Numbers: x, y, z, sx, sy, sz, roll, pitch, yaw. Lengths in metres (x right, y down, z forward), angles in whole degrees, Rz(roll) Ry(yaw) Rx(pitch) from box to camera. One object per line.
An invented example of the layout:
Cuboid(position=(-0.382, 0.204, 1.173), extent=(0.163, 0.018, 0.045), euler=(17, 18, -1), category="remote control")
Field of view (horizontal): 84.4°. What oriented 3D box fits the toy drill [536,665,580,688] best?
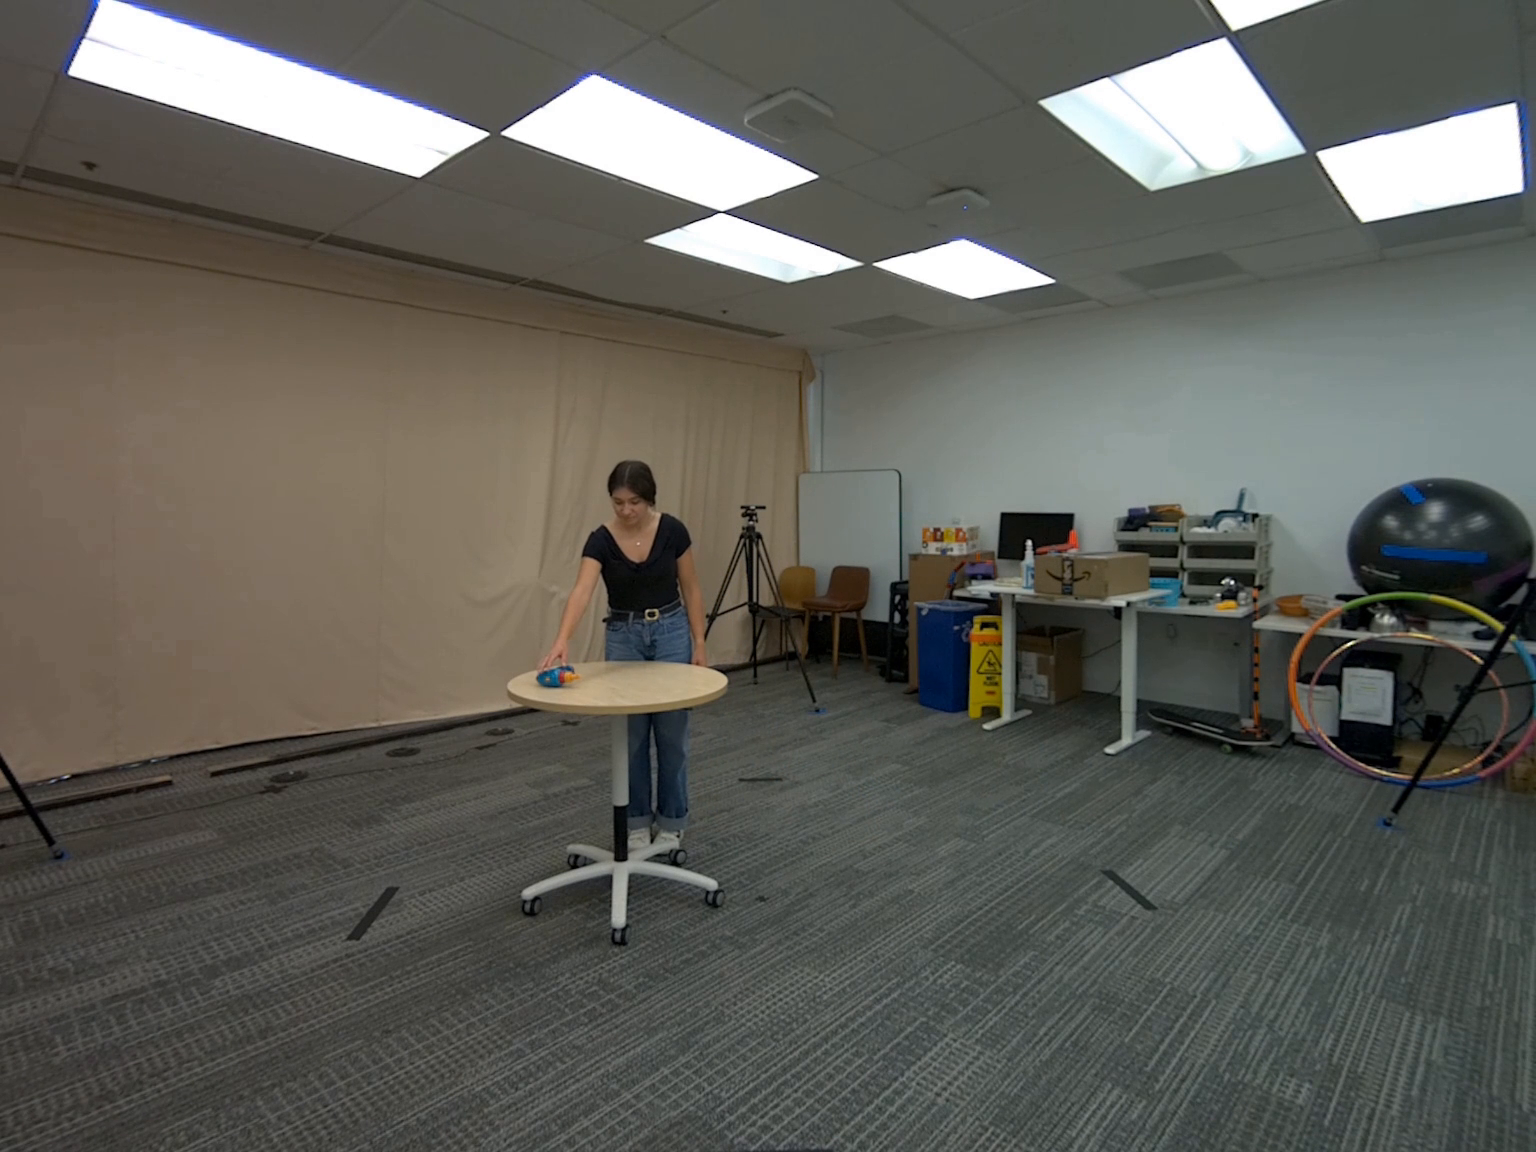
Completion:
Cuboid(position=(-0.719, 0.342, 2.892), extent=(0.172, 0.061, 0.144), euler=(-8, 2, 15), category="toy drill")
